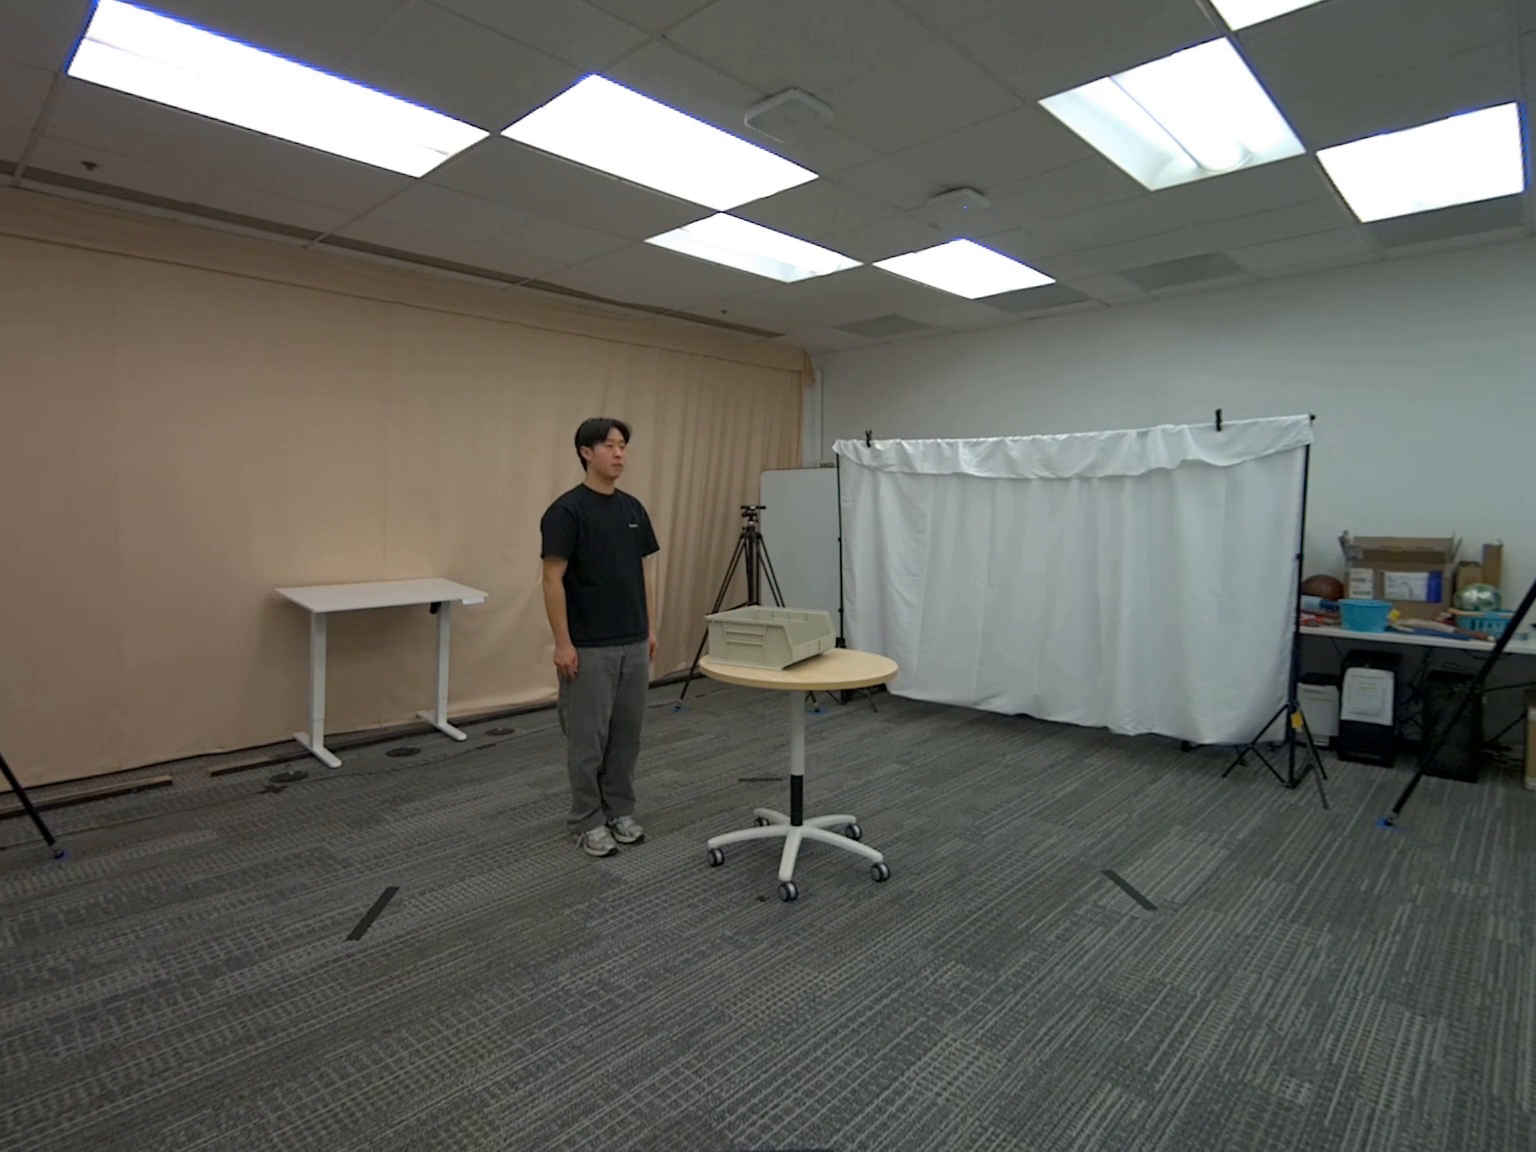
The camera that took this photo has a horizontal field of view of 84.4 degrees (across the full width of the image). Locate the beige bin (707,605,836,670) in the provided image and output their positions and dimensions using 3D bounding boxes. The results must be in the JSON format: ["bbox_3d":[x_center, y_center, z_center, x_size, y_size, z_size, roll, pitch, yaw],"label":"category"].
[{"bbox_3d":[0.018,0.240,3.334,0.388,0.188,0.412,1,6,28],"label":"beige bin"}]
